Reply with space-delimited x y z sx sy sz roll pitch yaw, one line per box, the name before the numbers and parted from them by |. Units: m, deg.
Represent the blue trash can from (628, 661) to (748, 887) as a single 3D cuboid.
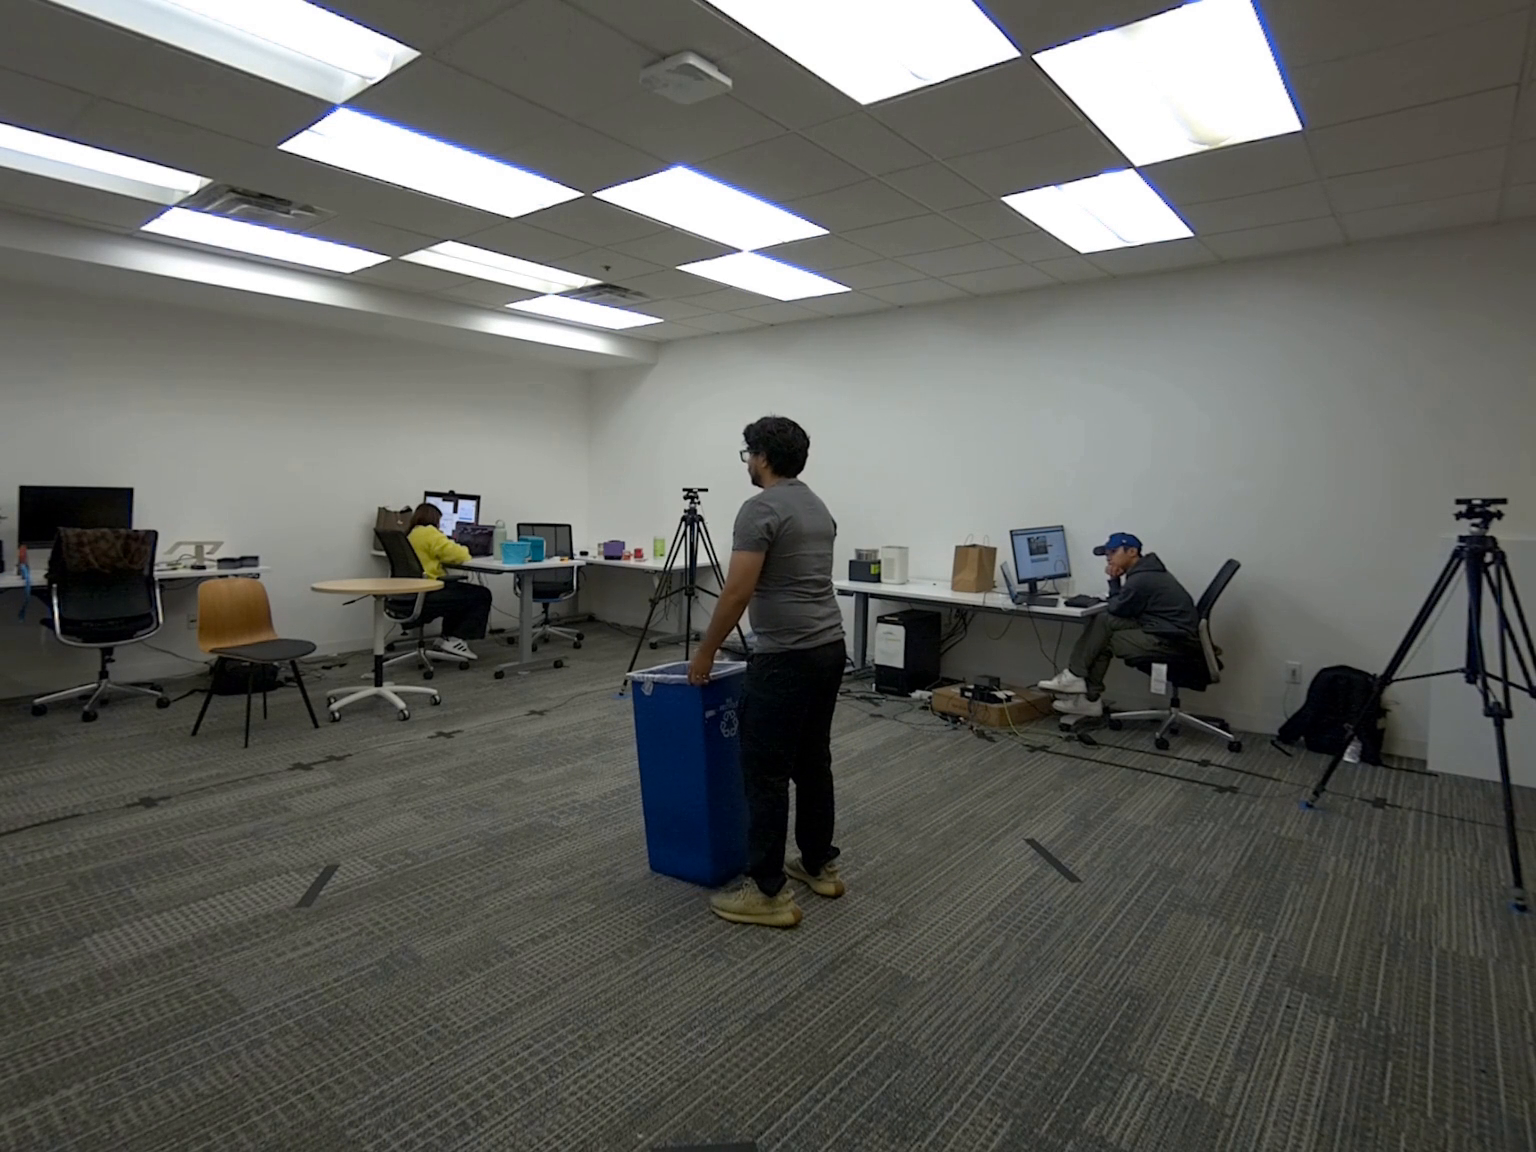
blue trash can | -0.267 0.695 3.152 0.389 0.714 0.363 -4 -1 35
